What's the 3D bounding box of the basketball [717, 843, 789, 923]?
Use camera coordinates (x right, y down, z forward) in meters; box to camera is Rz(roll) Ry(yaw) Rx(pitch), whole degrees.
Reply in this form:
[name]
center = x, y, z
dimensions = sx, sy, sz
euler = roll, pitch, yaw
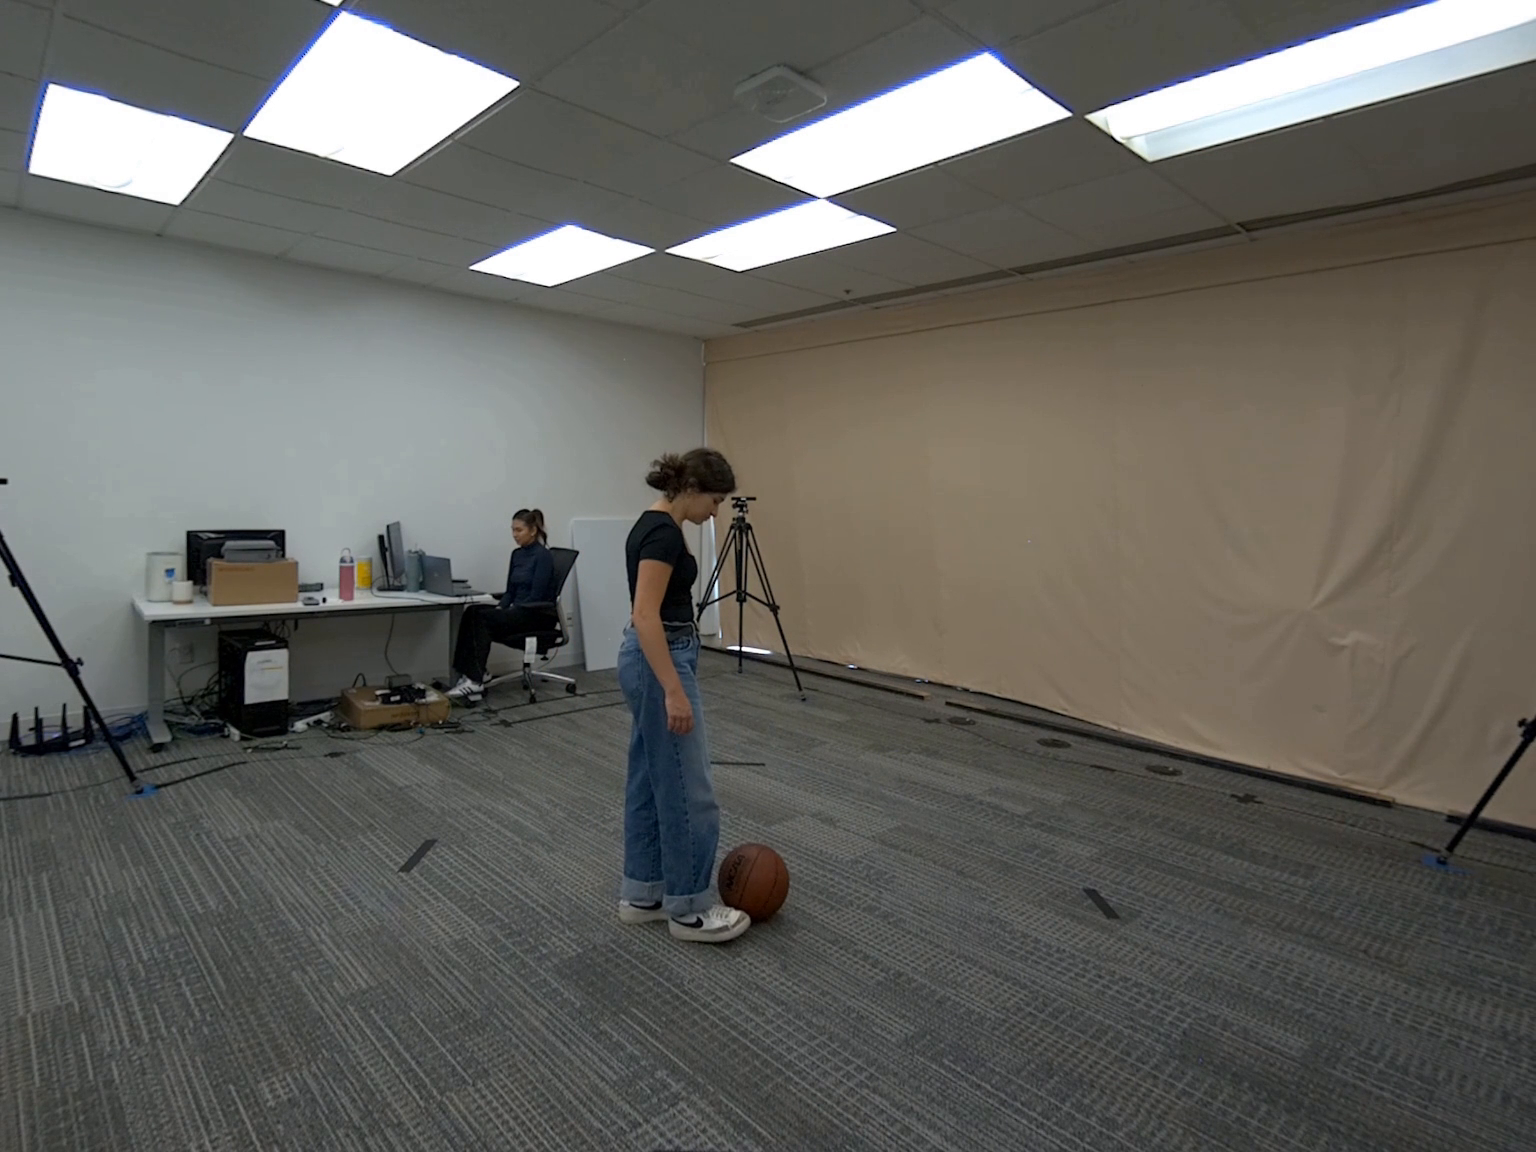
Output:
[basketball]
center = -0.049, 1.014, 2.795
dimensions = 0.236, 0.235, 0.237
euler = 1, 4, -1
